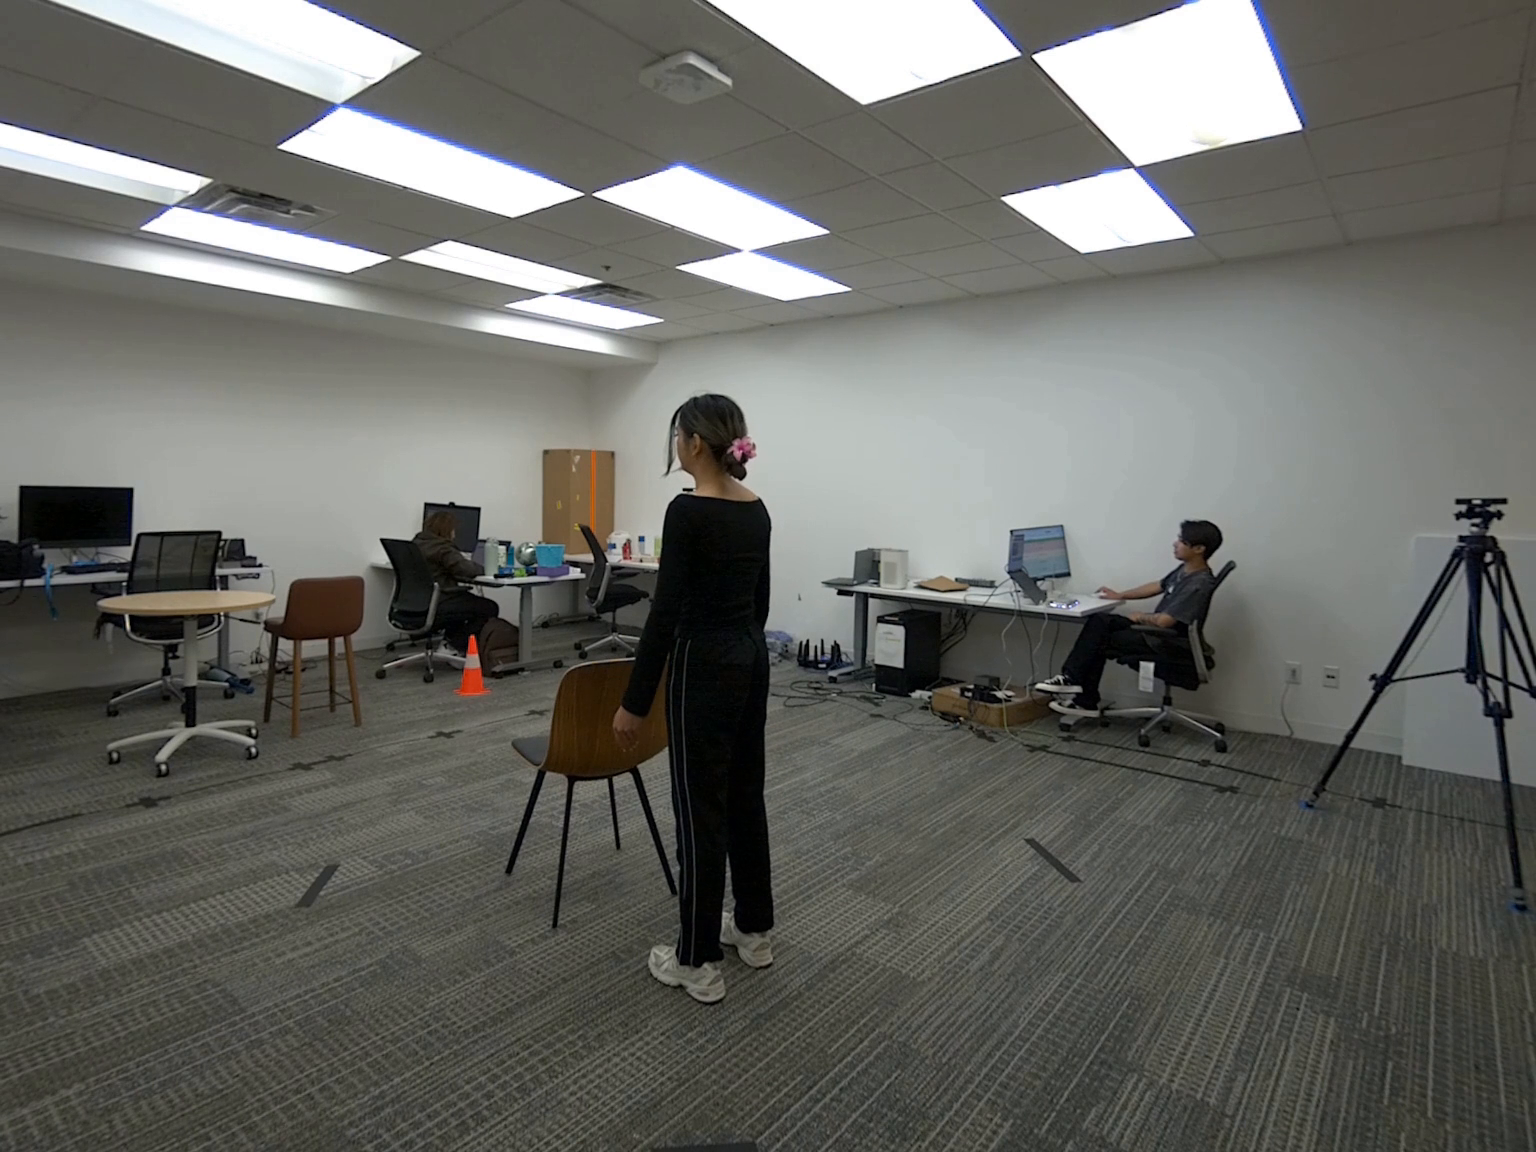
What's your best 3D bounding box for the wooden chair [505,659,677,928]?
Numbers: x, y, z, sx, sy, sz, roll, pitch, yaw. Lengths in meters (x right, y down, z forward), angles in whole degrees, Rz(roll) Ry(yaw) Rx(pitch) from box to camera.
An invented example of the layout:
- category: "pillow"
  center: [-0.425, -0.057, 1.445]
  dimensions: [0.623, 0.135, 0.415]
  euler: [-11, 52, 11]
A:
- category: "wooden chair"
  center: [-0.630, 0.652, 2.954]
  dimensions: [0.464, 0.872, 0.542]
  euler: [-1, 9, -34]
